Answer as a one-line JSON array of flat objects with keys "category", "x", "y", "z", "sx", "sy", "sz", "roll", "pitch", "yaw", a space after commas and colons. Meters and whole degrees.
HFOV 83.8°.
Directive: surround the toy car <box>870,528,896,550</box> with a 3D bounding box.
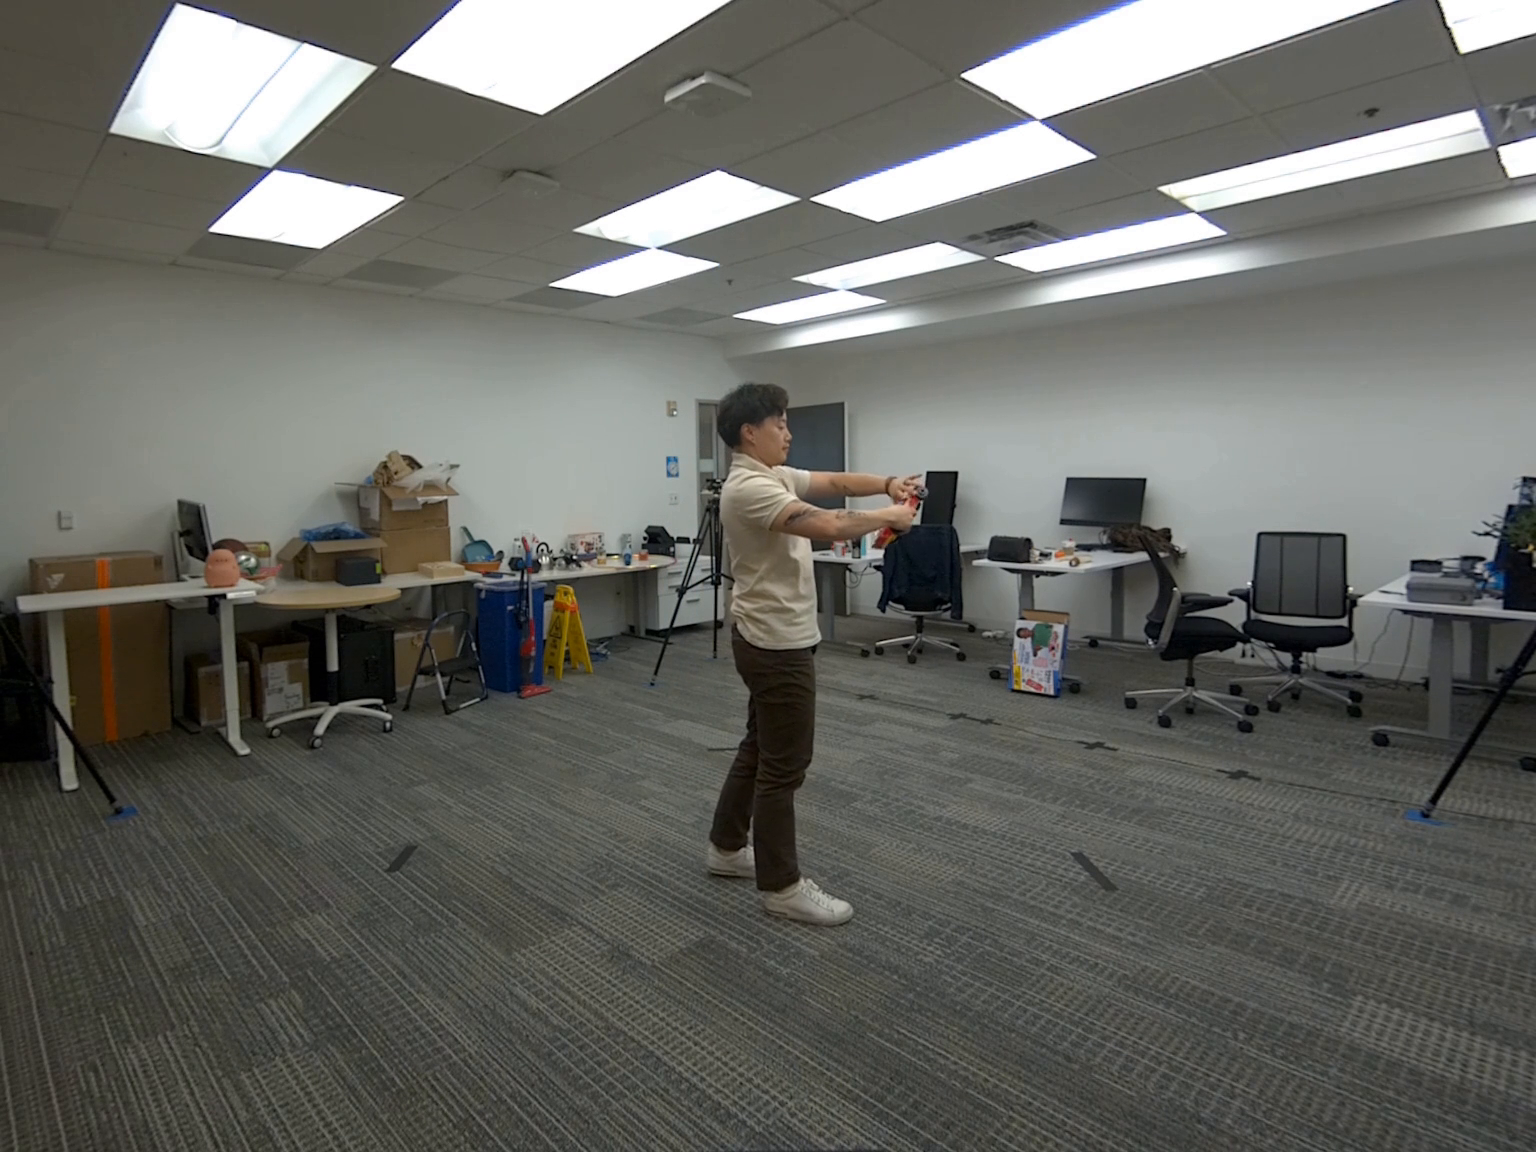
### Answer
[{"category": "toy car", "x": 0.424, "y": -0.182, "z": 2.718, "sx": 0.254, "sy": 0.085, "sz": 0.128, "roll": -41, "pitch": -15, "yaw": -17}]
